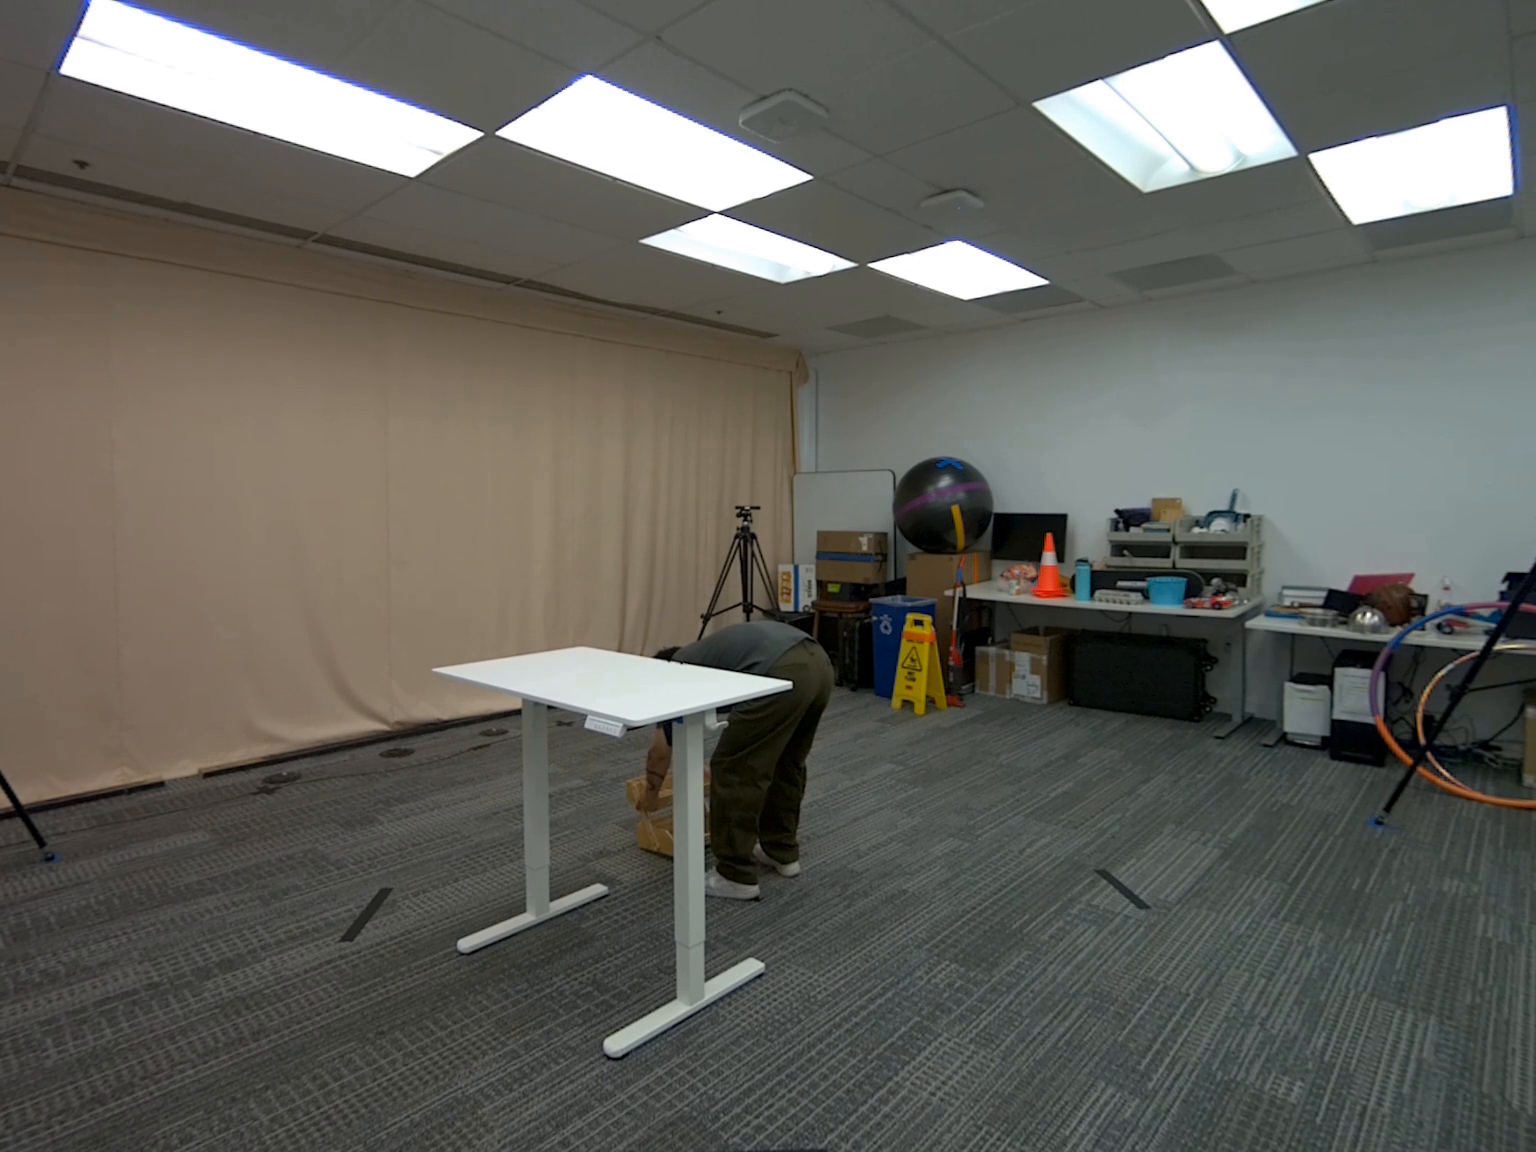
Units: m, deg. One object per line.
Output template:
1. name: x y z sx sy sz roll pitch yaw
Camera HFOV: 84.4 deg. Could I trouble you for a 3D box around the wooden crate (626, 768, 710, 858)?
1. wooden crate: -0.370 0.957 3.476 0.311 0.274 0.314 -6 -3 44
